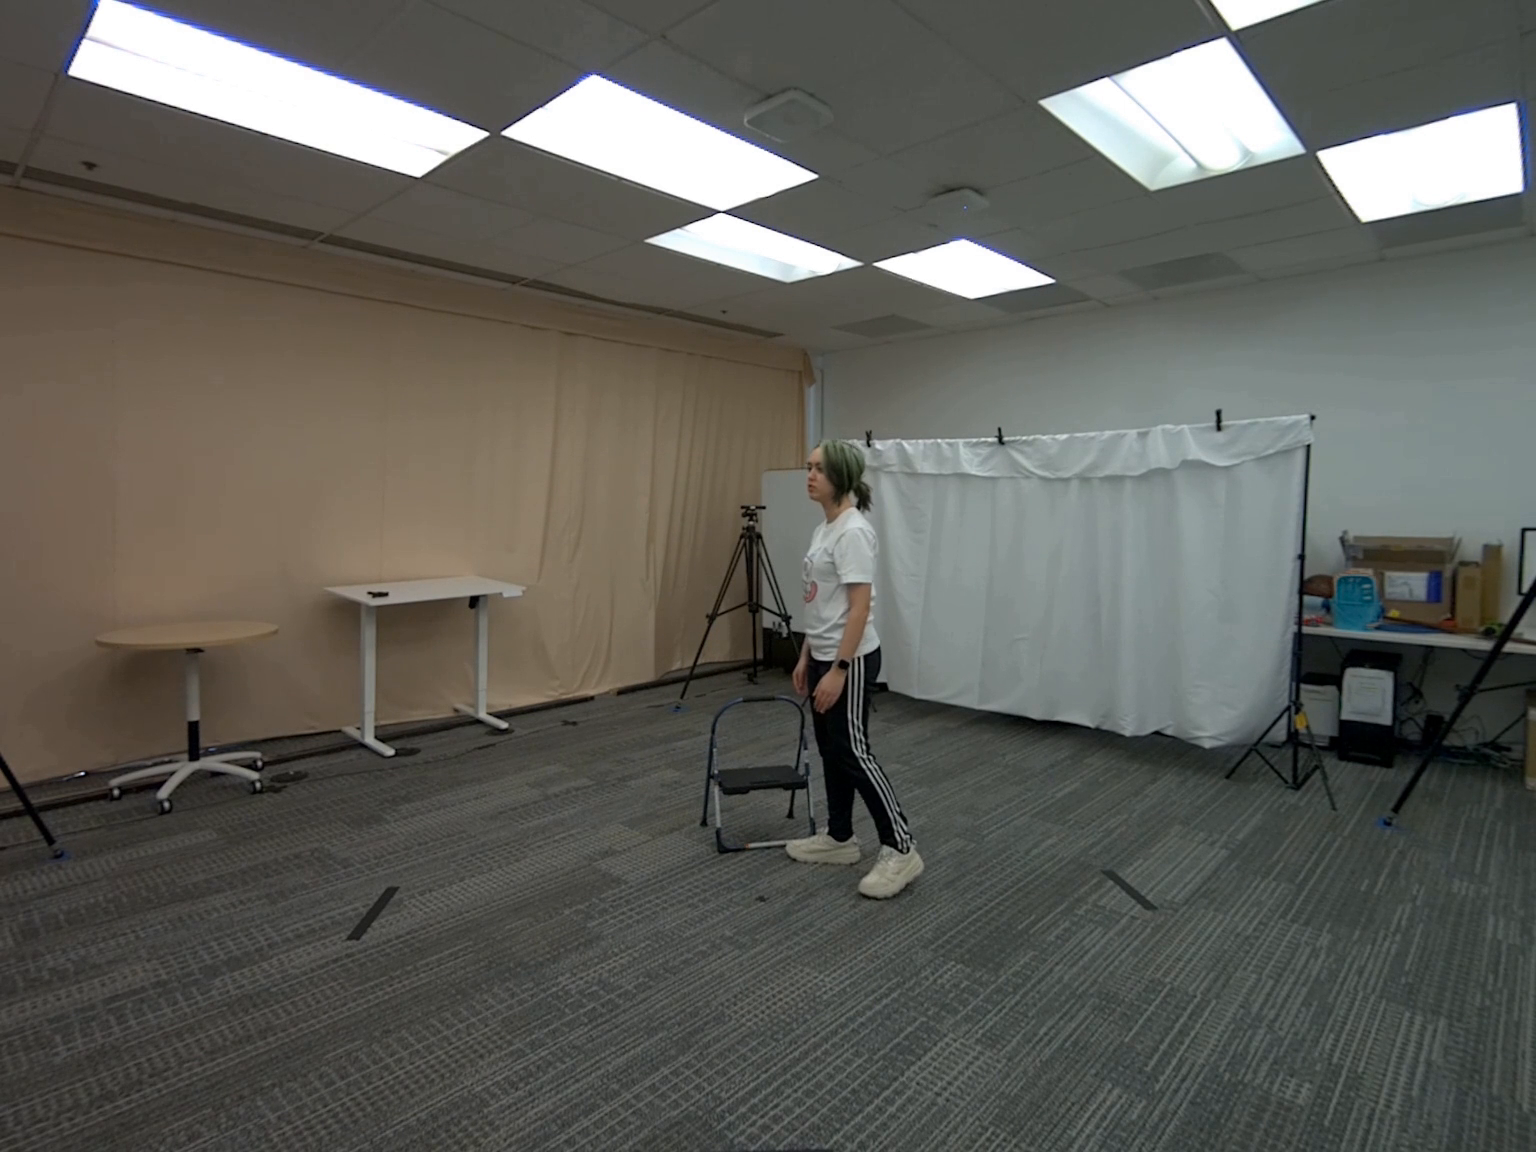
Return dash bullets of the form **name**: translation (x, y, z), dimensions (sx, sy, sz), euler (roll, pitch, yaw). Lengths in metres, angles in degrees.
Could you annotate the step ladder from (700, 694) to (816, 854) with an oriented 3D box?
- **step ladder**: translation (-0.048, 0.795, 3.563), dimensions (0.424, 0.605, 0.355), euler (-1, 3, -14)
